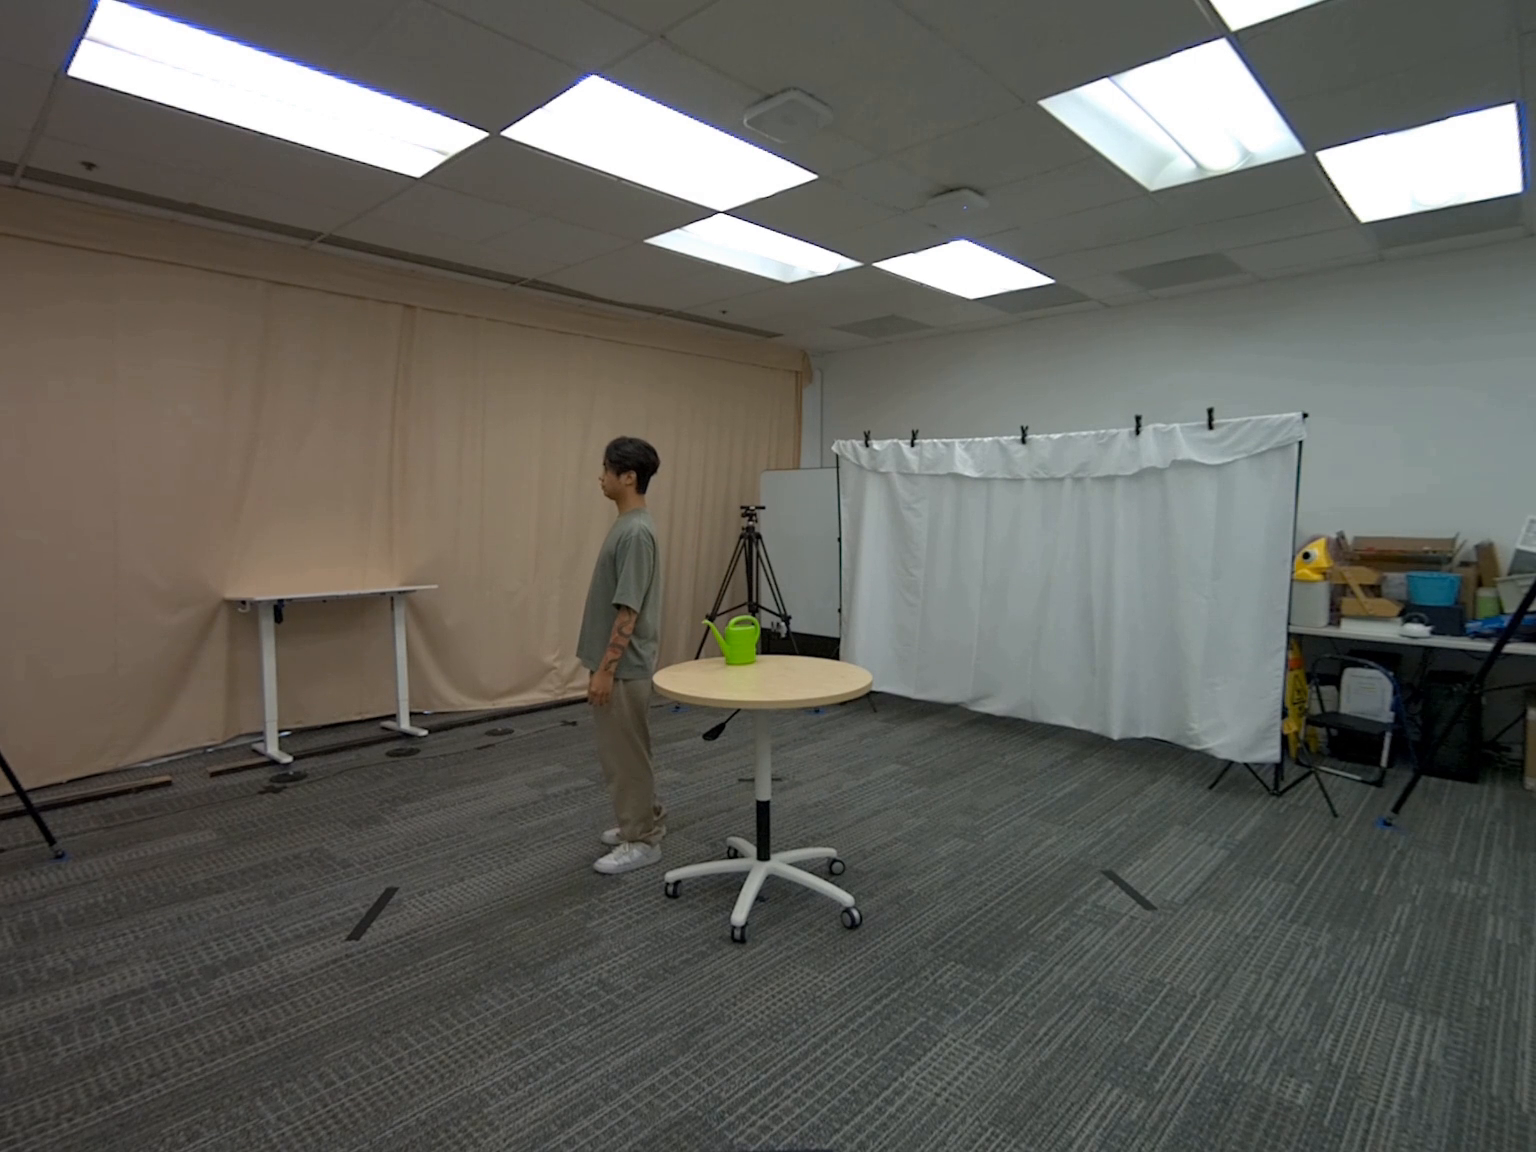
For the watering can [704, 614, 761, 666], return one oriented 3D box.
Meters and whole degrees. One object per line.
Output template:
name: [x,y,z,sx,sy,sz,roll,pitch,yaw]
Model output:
watering can: [-0.134,0.241,3.155,0.271,0.176,0.101,-1,5,-27]
